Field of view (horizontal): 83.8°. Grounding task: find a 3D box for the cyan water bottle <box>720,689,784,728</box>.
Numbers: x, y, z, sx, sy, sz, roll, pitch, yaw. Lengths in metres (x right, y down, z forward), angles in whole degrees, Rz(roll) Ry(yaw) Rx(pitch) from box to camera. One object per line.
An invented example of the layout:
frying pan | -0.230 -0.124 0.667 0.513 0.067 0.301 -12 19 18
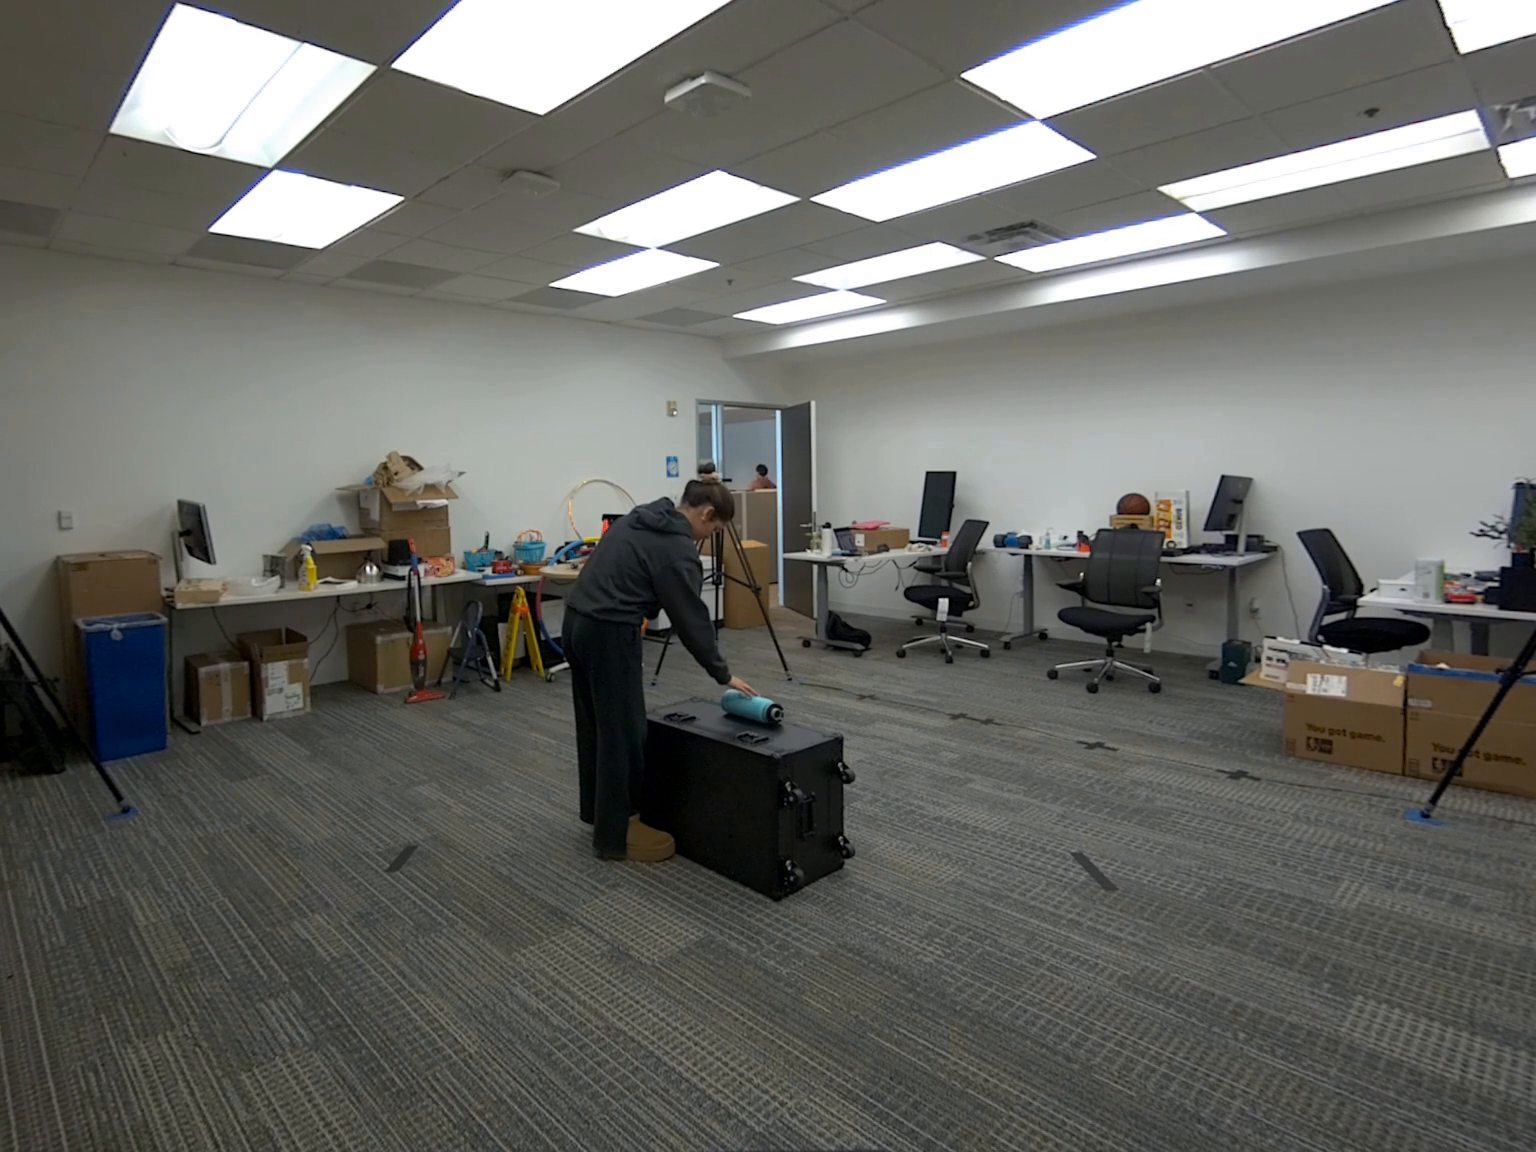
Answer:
cyan water bottle | -0.059 0.496 3.230 0.090 0.092 0.292 -5 7 -44
